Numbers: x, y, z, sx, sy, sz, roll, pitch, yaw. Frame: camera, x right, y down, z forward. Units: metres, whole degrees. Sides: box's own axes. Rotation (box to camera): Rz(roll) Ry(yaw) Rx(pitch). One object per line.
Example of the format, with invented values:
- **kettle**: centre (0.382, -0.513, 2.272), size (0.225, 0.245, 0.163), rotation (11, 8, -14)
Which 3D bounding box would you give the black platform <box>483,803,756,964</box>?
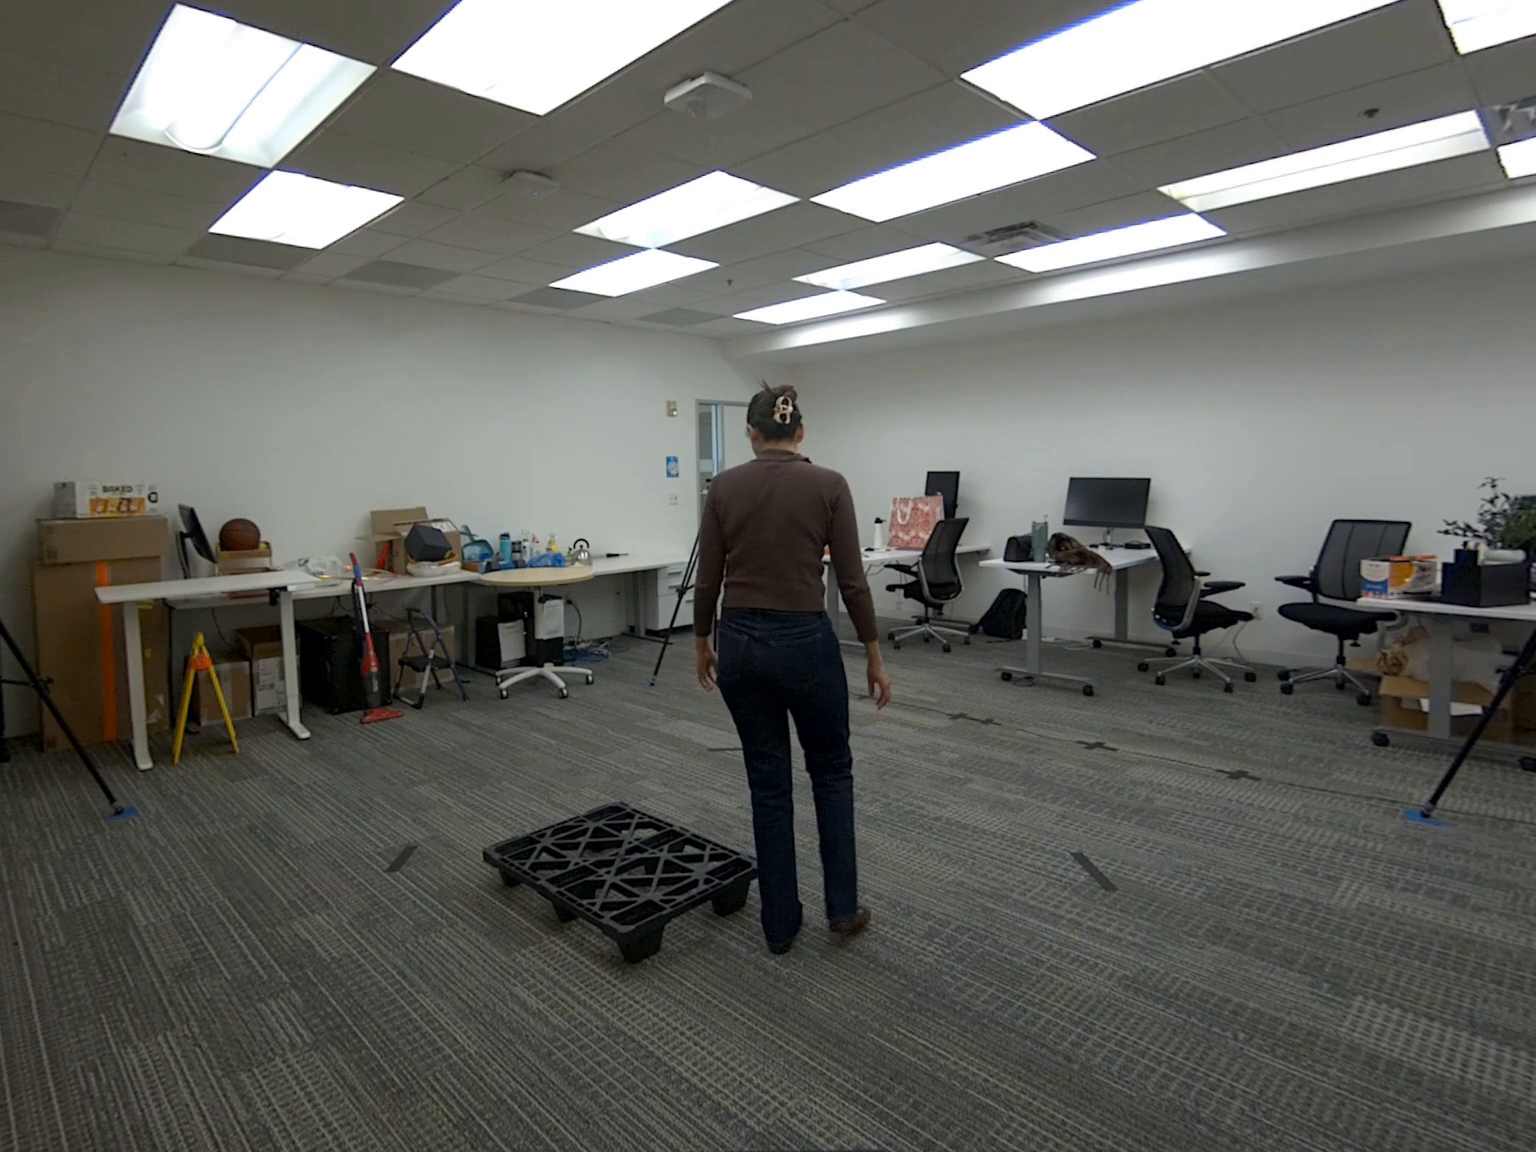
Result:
- **black platform**: centre (-0.497, 1.012, 2.896), size (0.831, 0.142, 0.589), rotation (6, 9, 44)
